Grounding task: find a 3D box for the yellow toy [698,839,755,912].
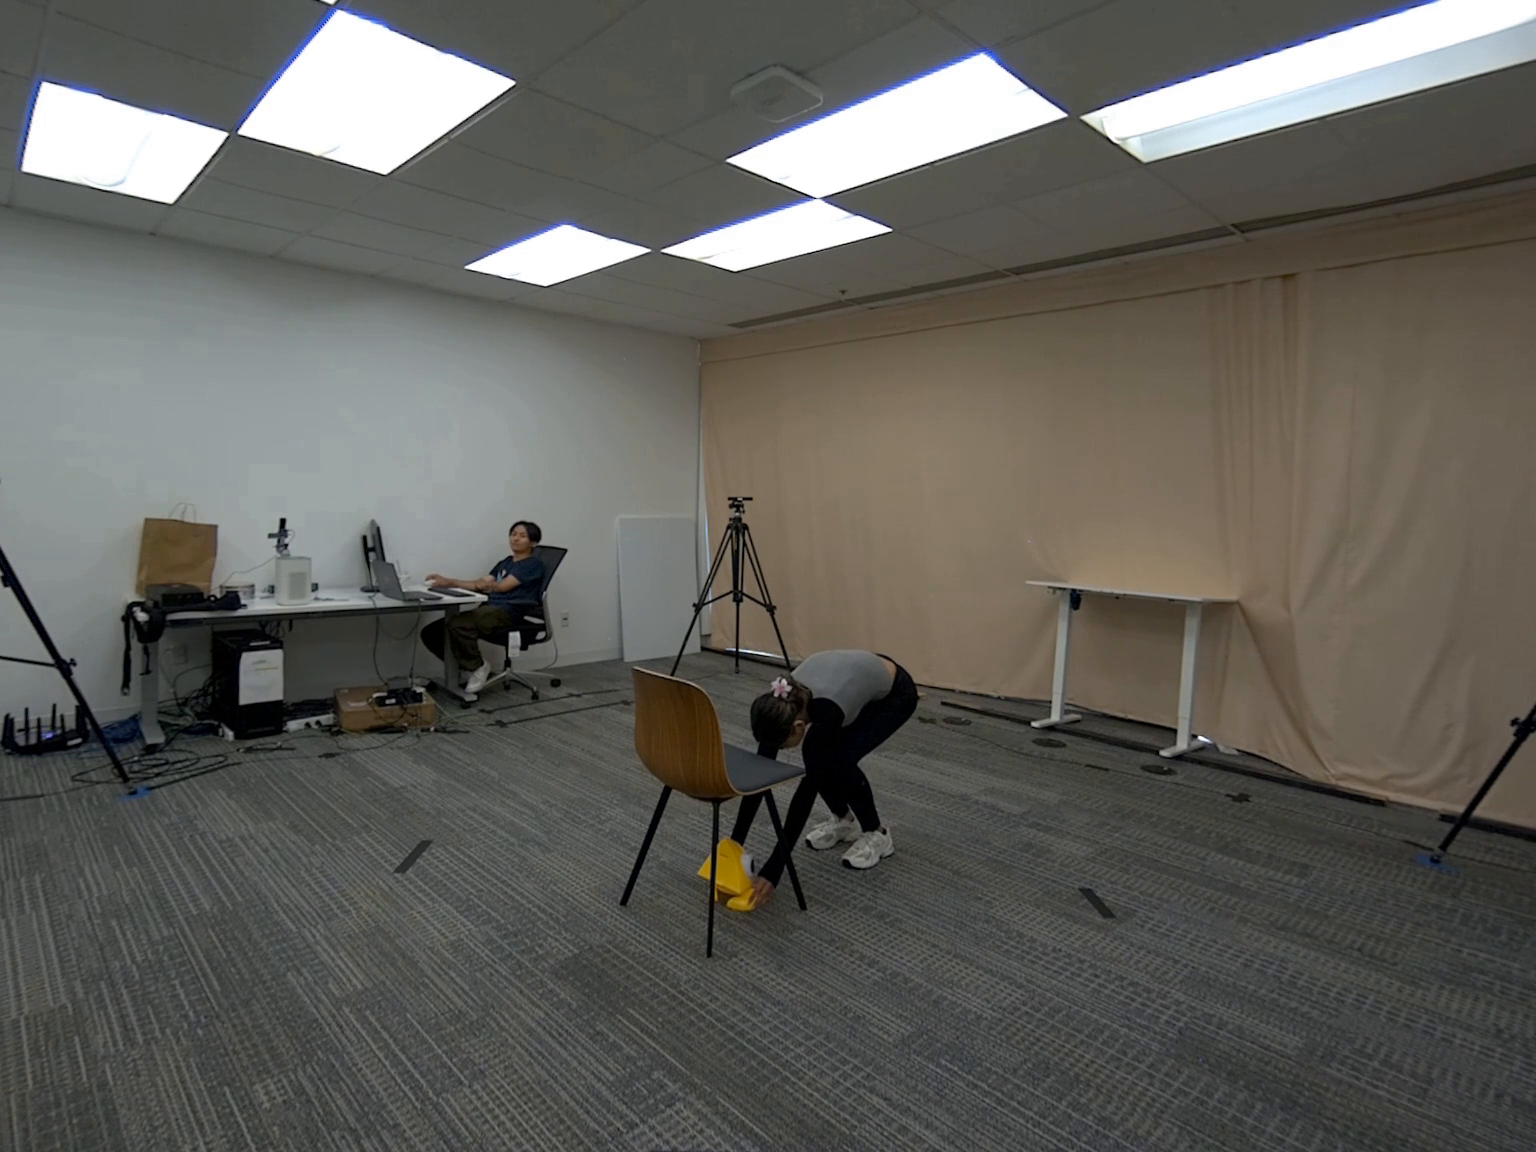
[{"bbox_3d":[-0.114,1.007,2.940,0.210,0.230,0.189,2,3,44],"label":"yellow toy"}]
